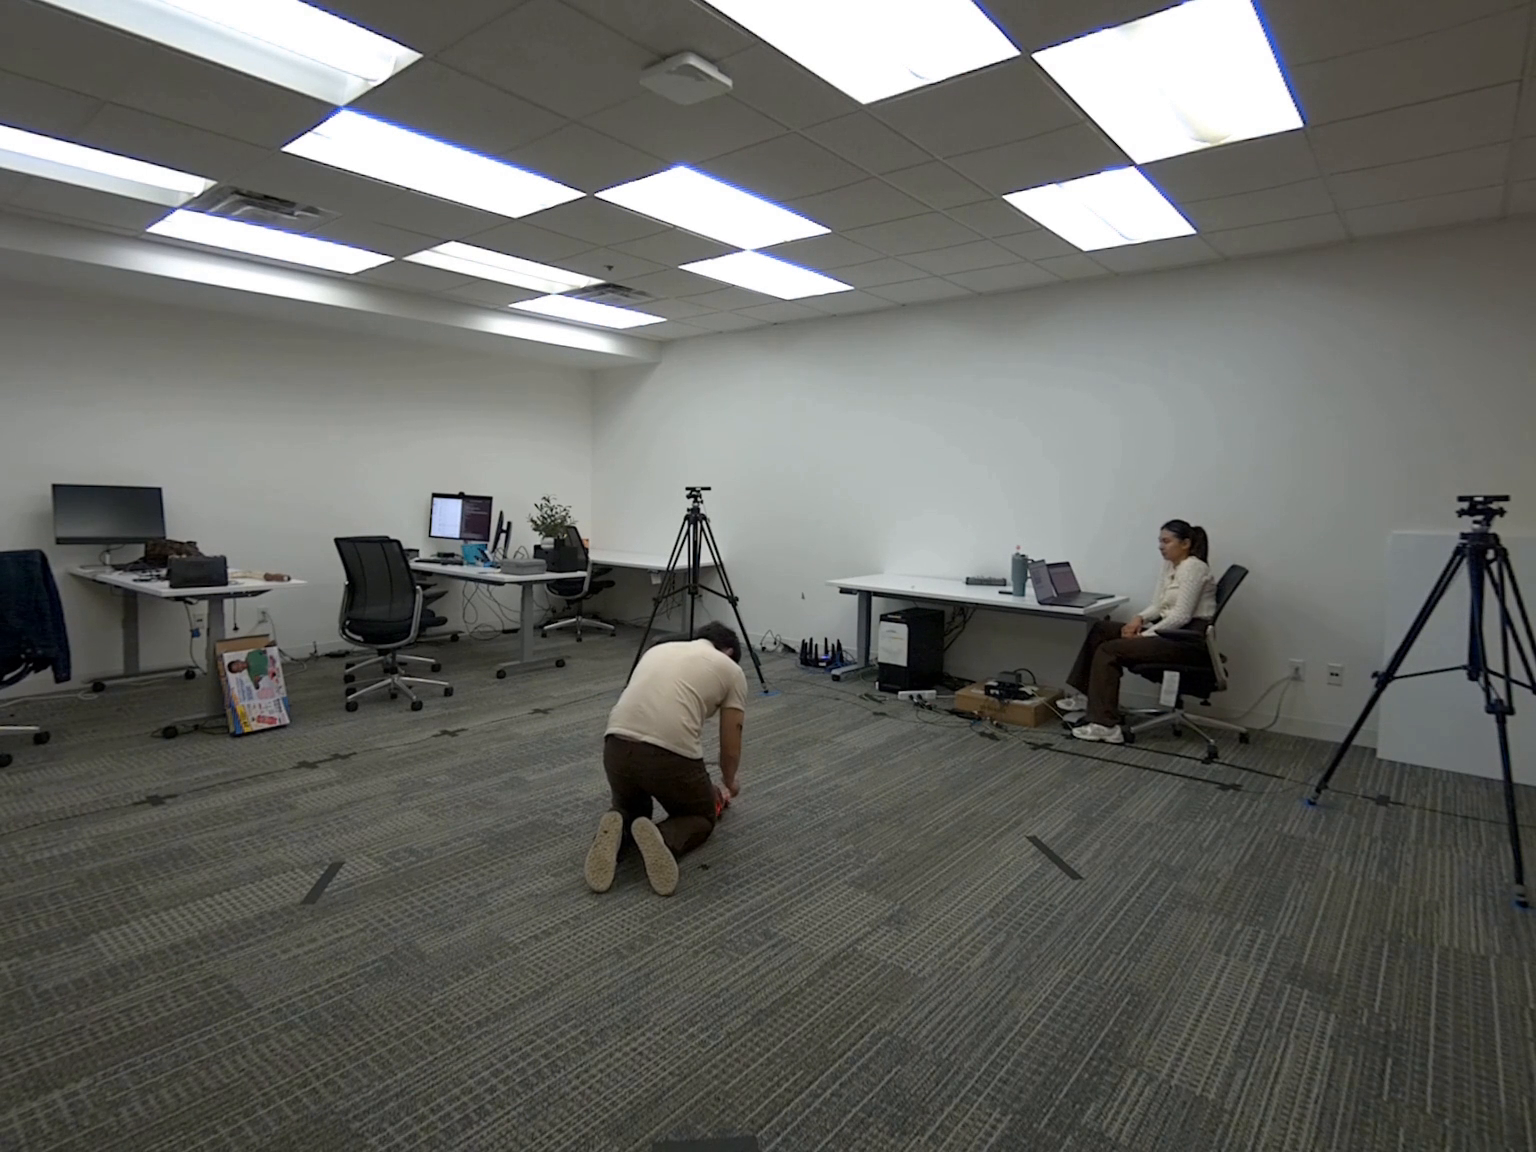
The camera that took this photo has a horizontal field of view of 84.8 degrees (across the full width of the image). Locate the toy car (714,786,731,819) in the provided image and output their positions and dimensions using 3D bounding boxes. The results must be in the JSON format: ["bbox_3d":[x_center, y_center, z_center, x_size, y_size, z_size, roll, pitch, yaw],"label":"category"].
[{"bbox_3d":[-0.259,0.977,3.632,0.132,0.083,0.250,2,-4,11],"label":"toy car"}]
